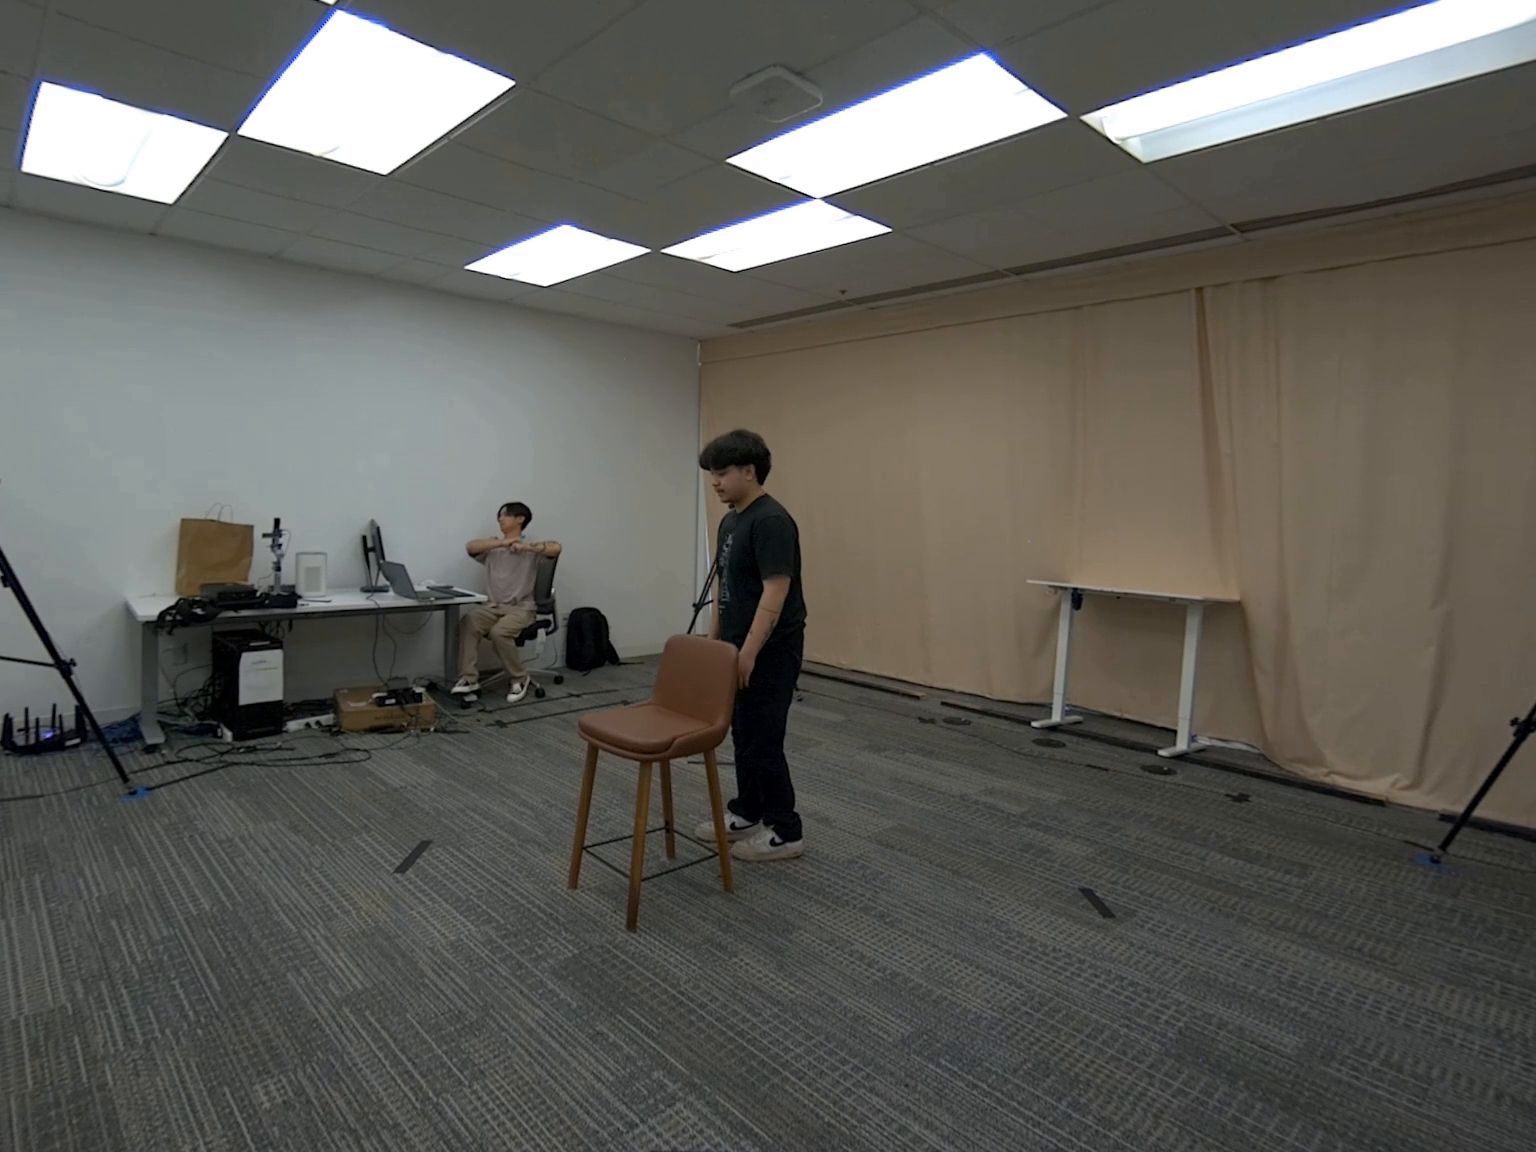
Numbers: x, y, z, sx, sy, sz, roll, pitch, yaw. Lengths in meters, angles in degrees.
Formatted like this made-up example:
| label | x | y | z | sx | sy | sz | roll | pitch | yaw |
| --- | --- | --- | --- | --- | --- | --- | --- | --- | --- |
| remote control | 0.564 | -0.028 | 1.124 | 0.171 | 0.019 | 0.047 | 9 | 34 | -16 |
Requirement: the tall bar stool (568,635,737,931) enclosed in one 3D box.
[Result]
| label | x | y | z | sx | sy | sz | roll | pitch | yaw |
| --- | --- | --- | --- | --- | --- | --- | --- | --- | --- |
| tall bar stool | -0.398 | 0.679 | 2.959 | 0.456 | 0.888 | 0.468 | 1 | 3 | -41 |
